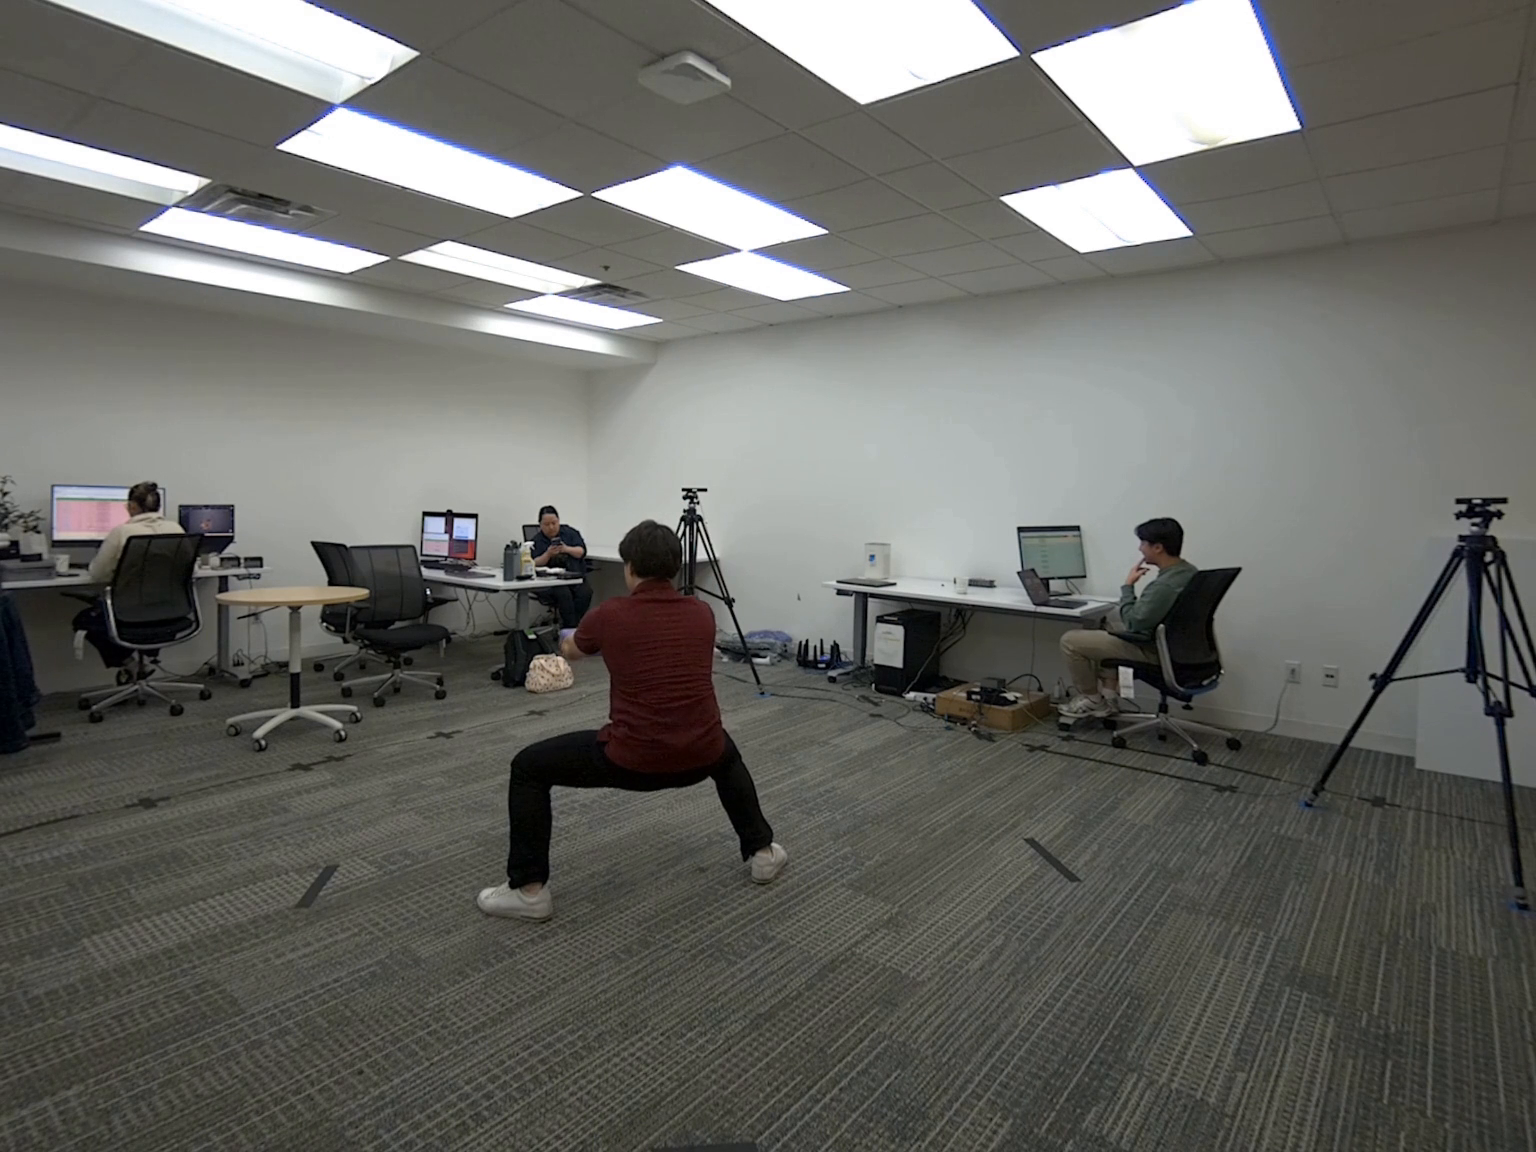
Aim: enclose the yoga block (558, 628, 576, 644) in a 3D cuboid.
[{"bbox_3d":[-0.719,0.247,3.434,0.223,0.076,0.154,-1,14,-31],"label":"yoga block"}]
